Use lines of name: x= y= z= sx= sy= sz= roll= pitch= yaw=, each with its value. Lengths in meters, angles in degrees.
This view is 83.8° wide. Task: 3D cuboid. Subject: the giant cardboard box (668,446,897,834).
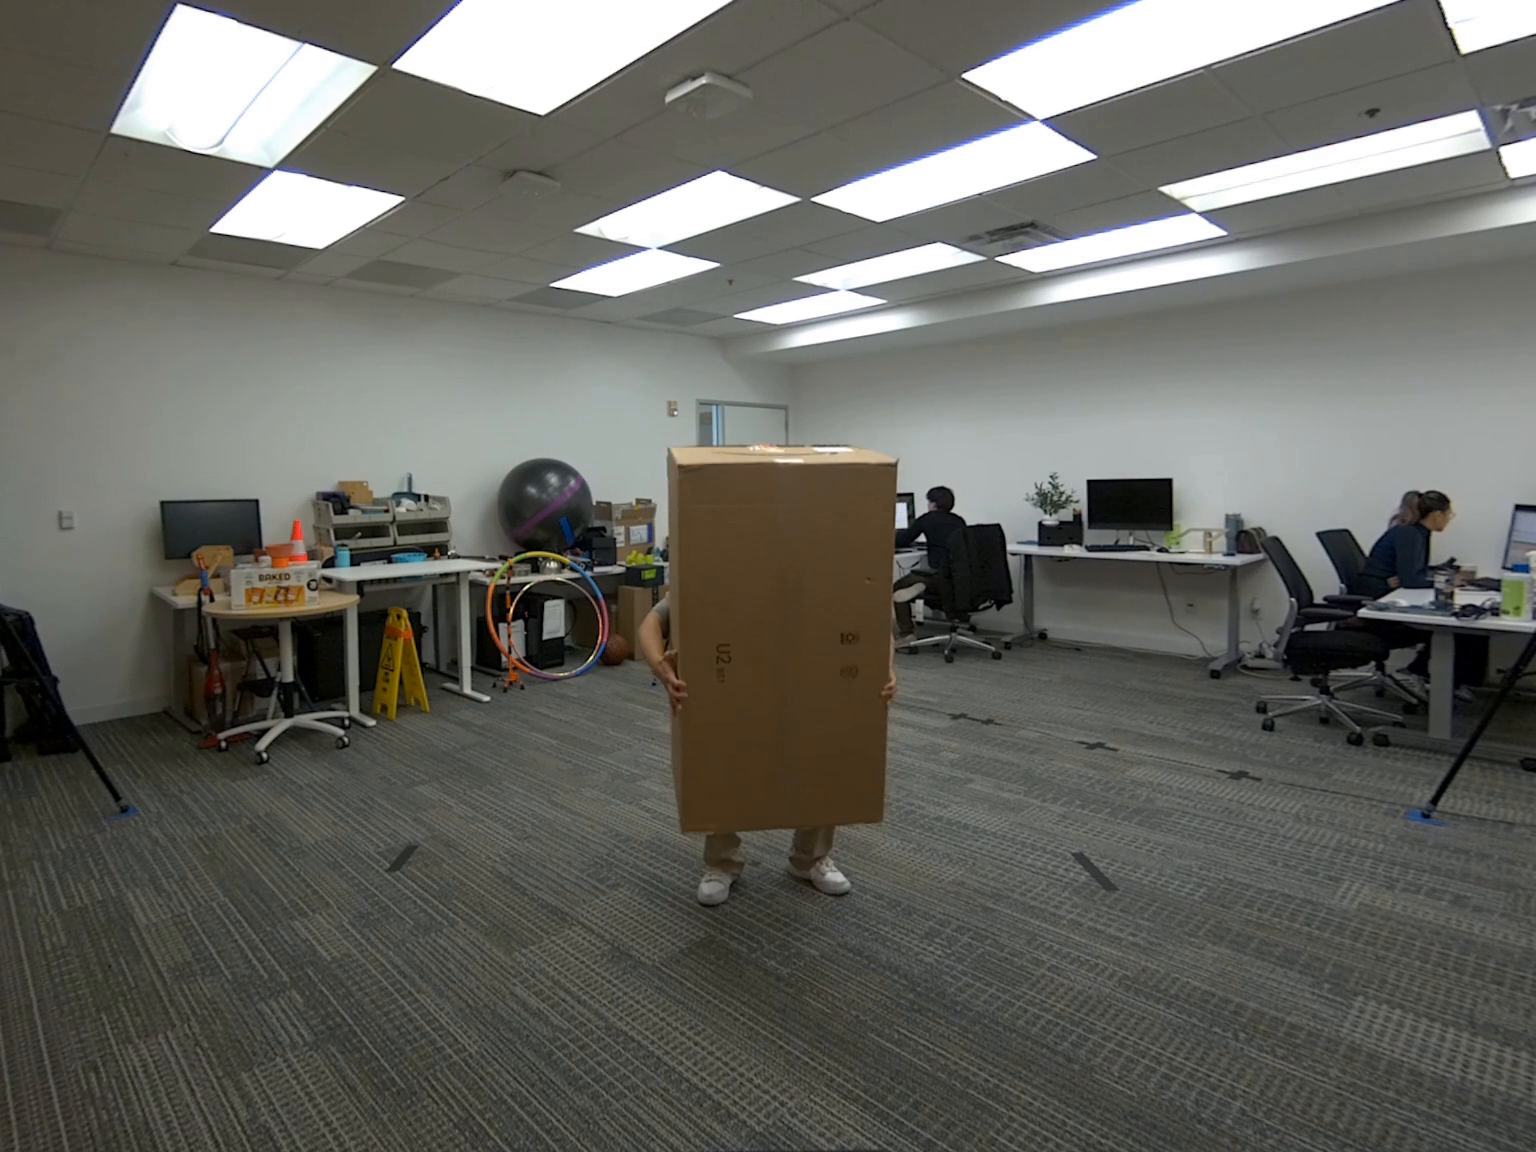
giant cardboard box: x=0.010 y=0.154 z=2.452 sx=0.574 sy=1.016 sz=0.433 roll=-1 pitch=11 yaw=-7
